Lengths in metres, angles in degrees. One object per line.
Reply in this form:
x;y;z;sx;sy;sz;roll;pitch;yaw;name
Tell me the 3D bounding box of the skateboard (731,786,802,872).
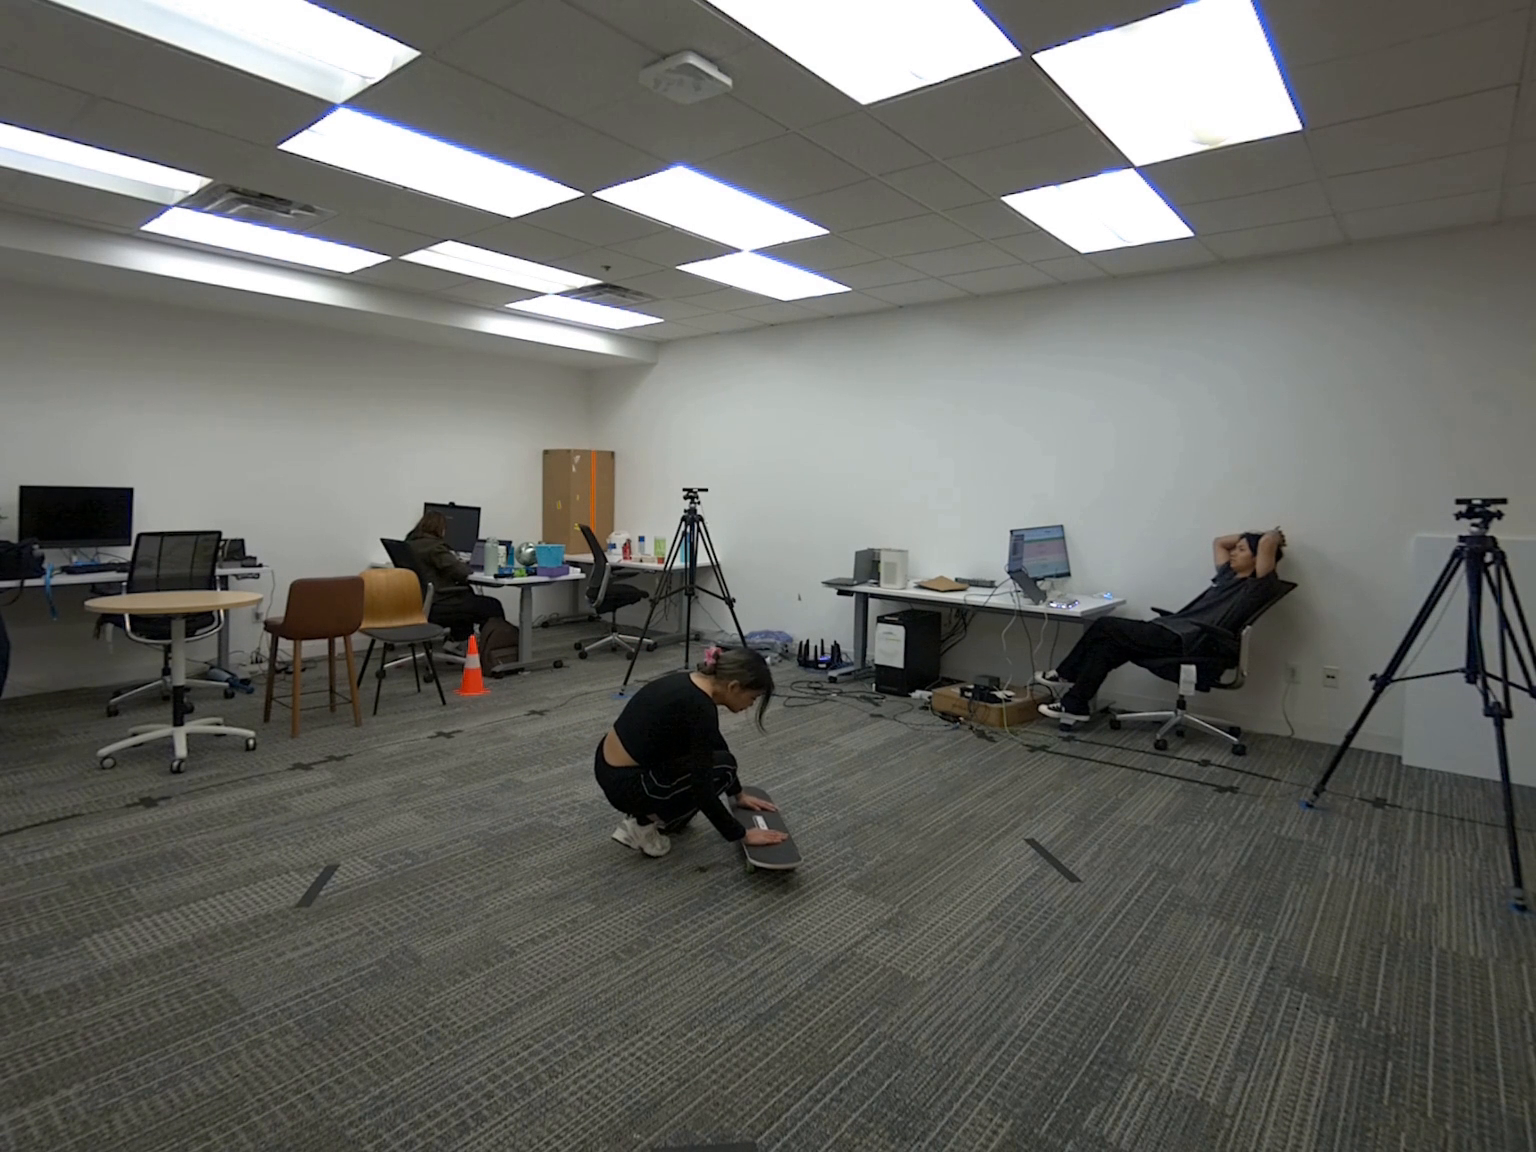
-0.037;0.996;3.301;0.191;0.110;0.796;0;6;-10;skateboard
